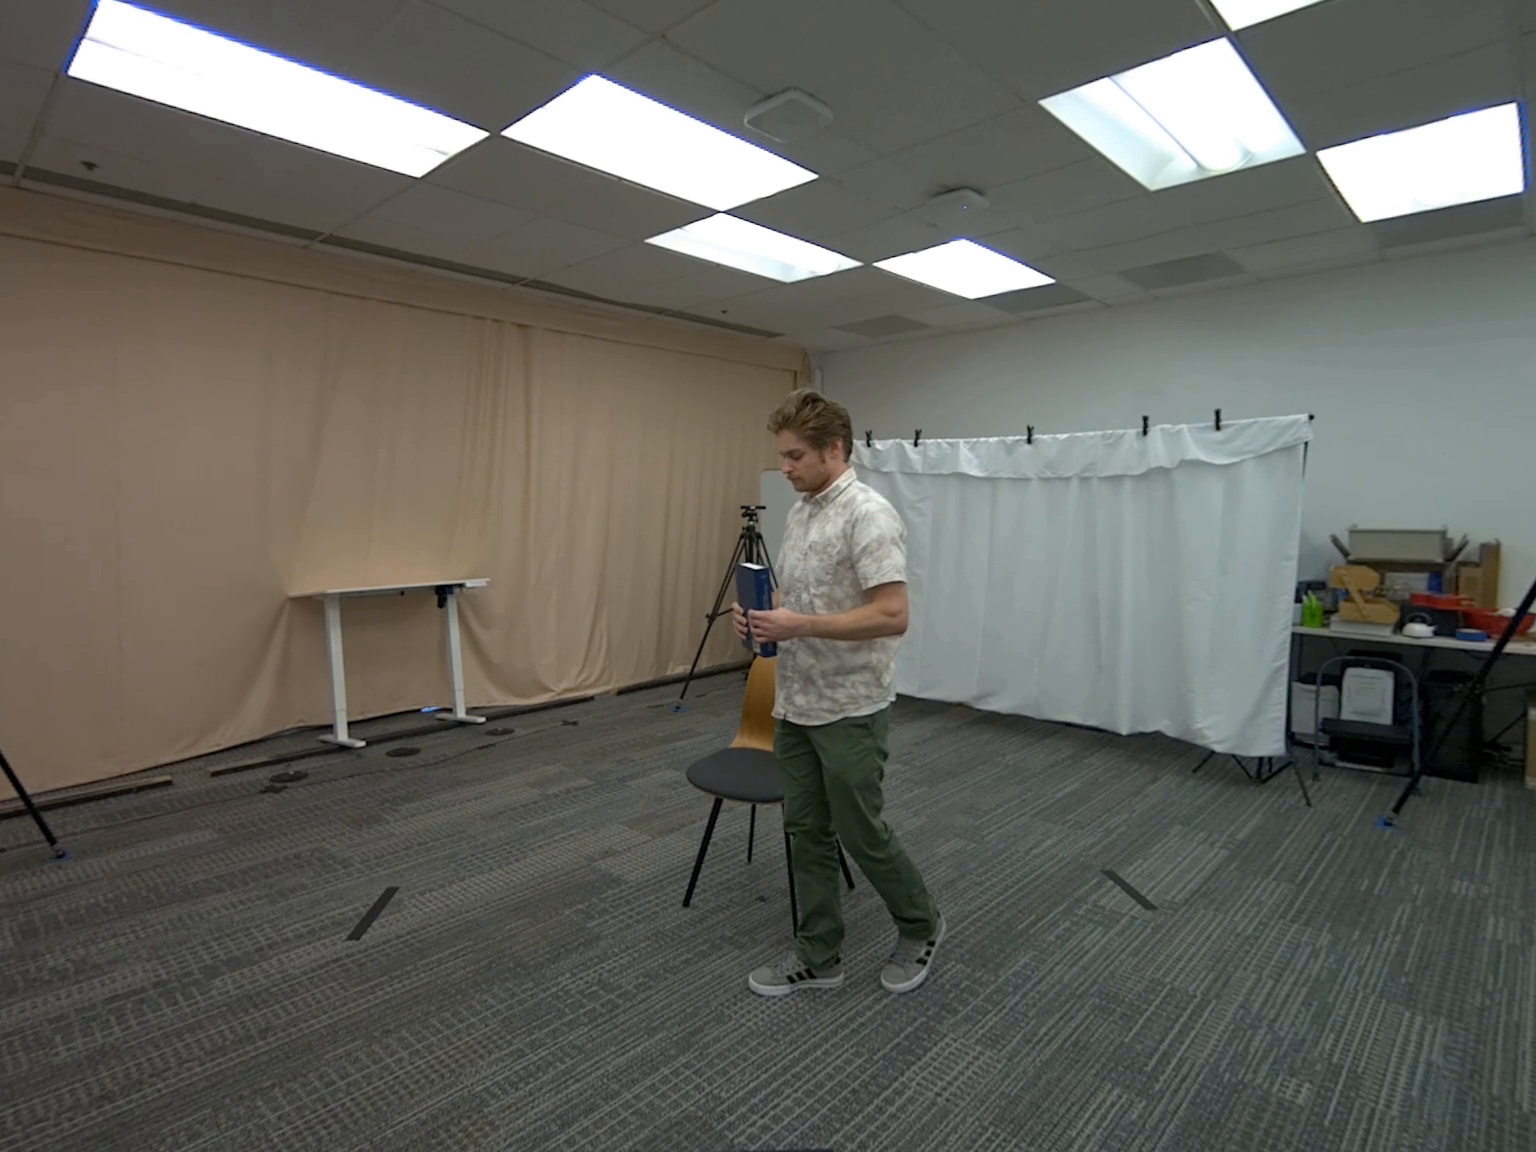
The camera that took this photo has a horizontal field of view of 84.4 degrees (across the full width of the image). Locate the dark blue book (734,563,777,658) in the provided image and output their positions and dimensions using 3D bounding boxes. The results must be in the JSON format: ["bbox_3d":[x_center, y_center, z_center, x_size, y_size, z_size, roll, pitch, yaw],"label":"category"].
[{"bbox_3d":[-0.023,0.091,2.320,0.044,0.243,0.167,-11,9,-19],"label":"dark blue book"}]
